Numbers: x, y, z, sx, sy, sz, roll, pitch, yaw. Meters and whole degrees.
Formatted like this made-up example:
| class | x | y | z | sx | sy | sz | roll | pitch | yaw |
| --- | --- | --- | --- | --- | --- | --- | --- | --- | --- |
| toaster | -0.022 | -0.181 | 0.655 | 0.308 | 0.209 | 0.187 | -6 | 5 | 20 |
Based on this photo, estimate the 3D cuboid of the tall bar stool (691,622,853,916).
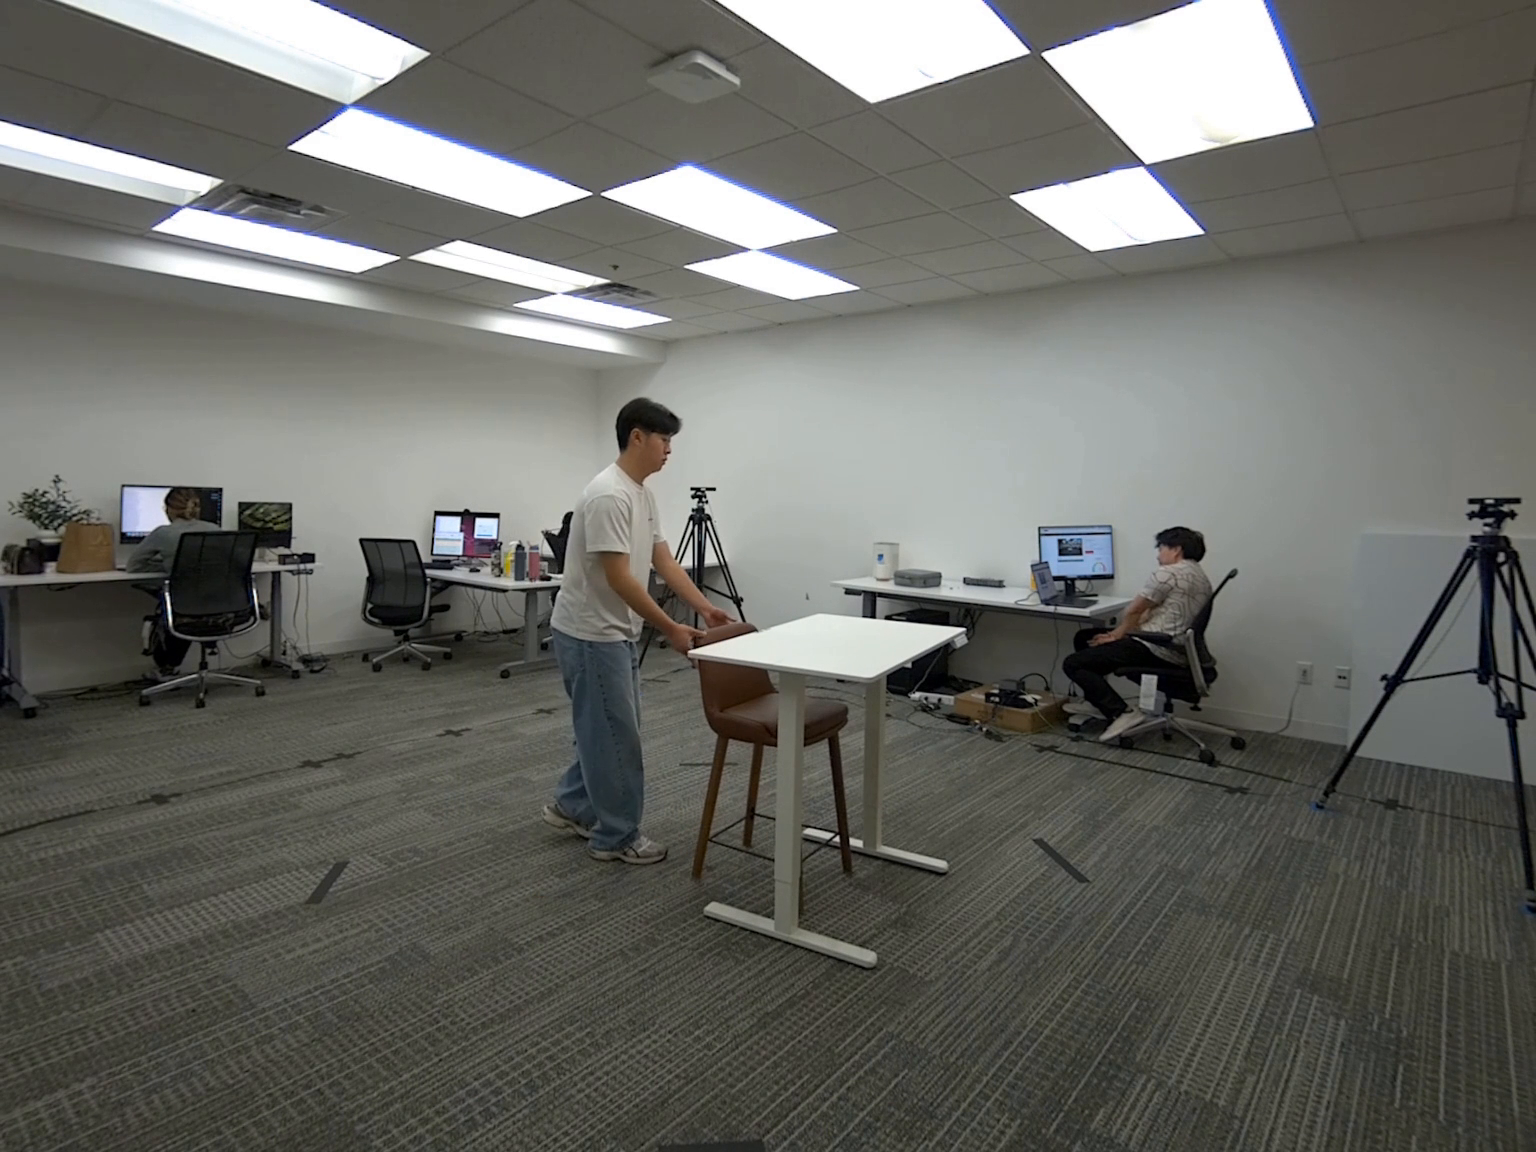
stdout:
| class | x | y | z | sx | sy | sz | roll | pitch | yaw |
| --- | --- | --- | --- | --- | --- | --- | --- | --- | --- |
| tall bar stool | -0.002 | 0.639 | 3.043 | 0.481 | 0.889 | 0.444 | 0 | 1 | 33 |
